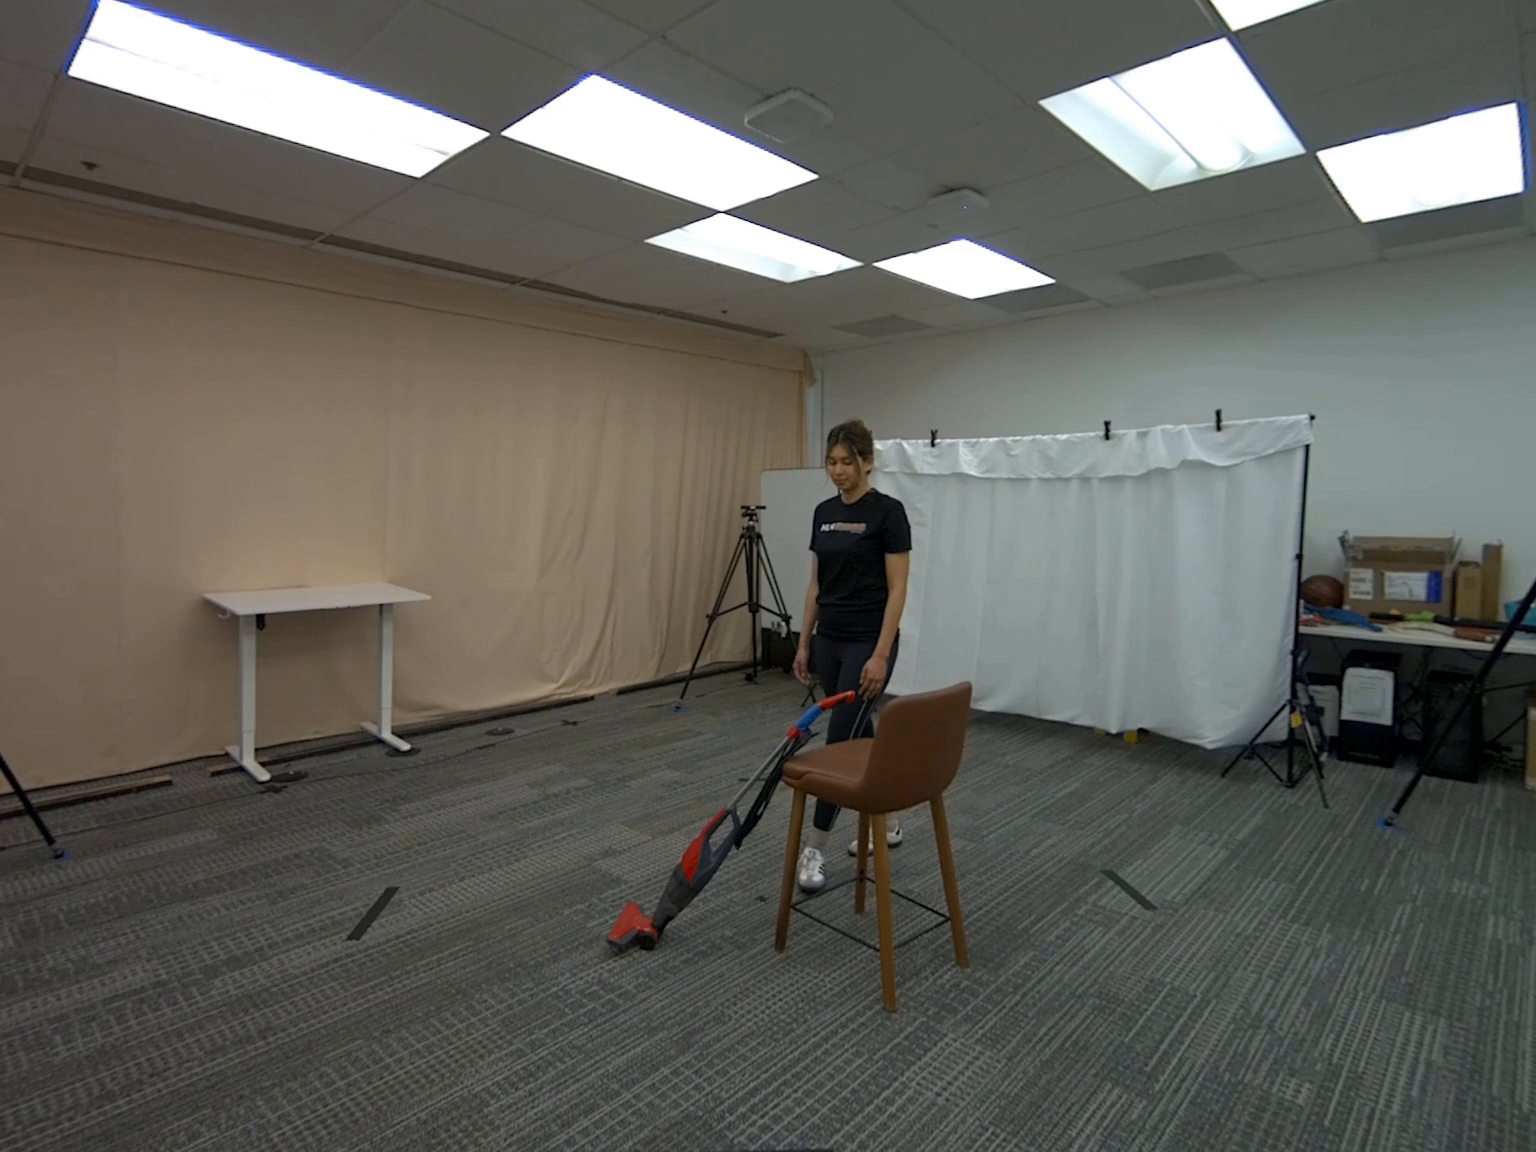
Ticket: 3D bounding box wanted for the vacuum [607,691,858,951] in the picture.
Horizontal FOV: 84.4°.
[{"bbox_3d":[-0.093,0.761,2.638,0.145,1.051,0.251,41,8,2],"label":"vacuum"}]
